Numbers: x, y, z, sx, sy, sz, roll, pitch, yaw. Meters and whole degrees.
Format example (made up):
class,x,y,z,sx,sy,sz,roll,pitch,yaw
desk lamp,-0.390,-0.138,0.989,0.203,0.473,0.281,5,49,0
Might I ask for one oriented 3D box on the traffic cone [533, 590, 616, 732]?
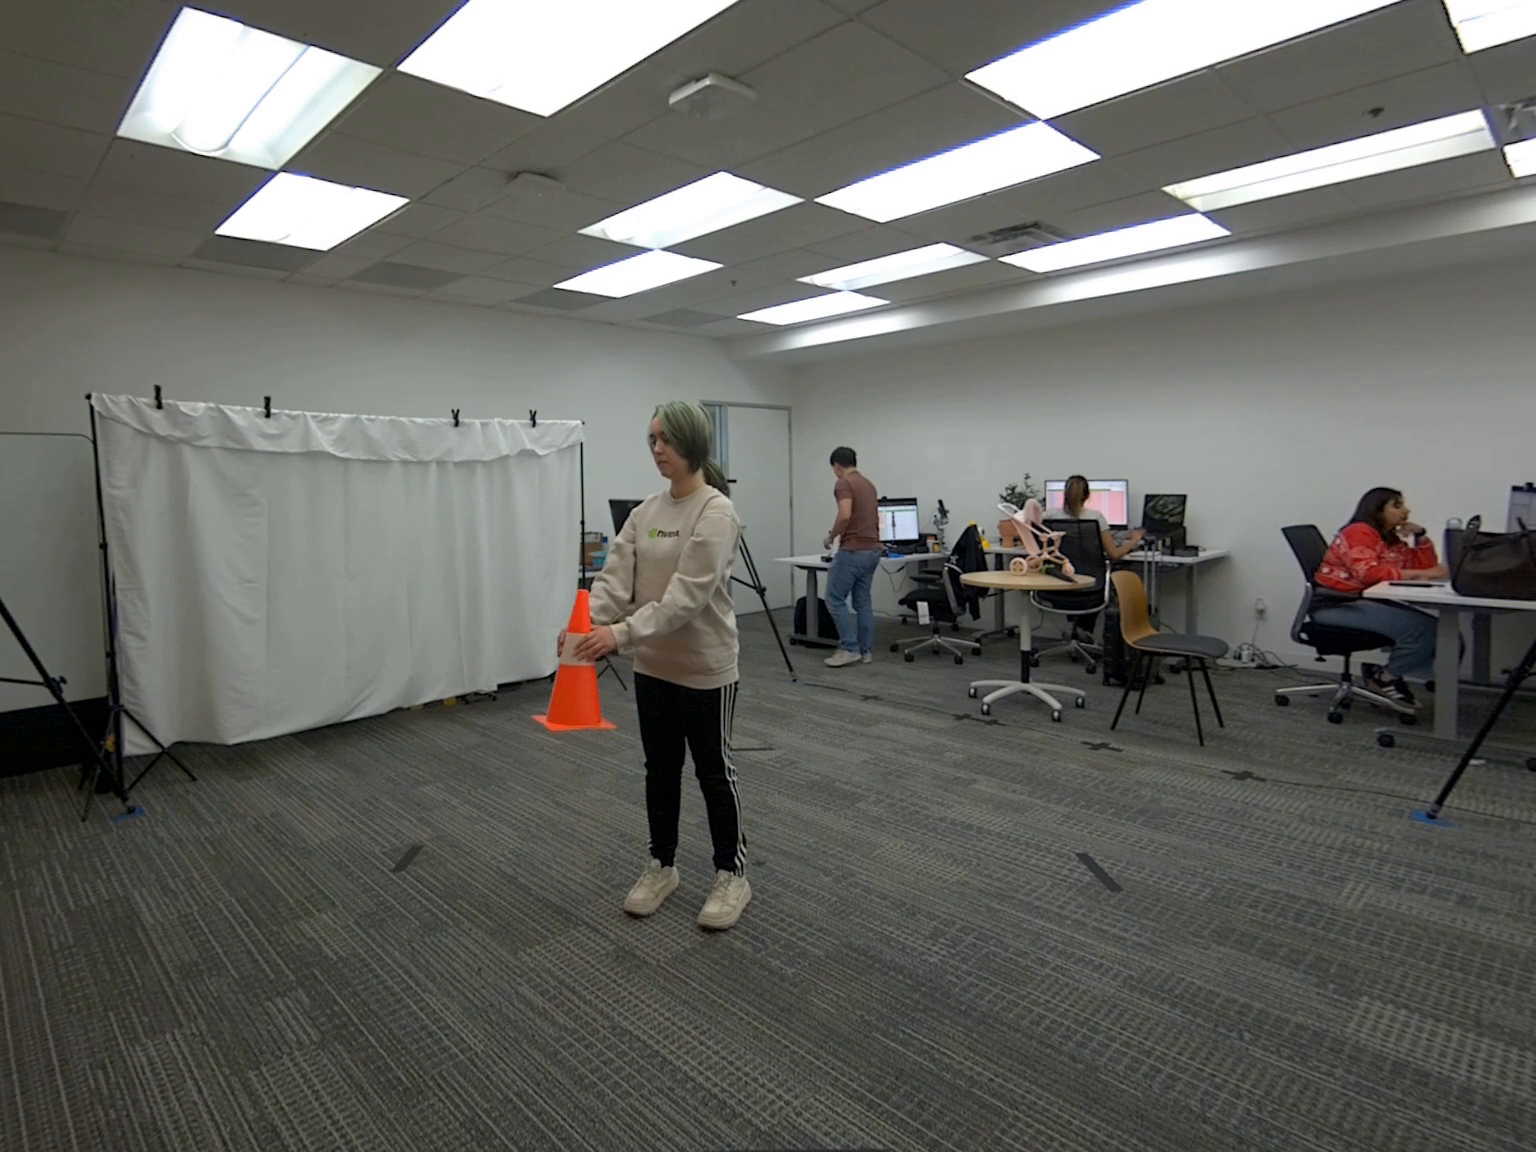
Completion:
class,x,y,z,sx,sy,sz,roll,pitch,yaw
traffic cone,-0.551,0.237,2.469,0.197,0.385,0.210,7,-5,-35
